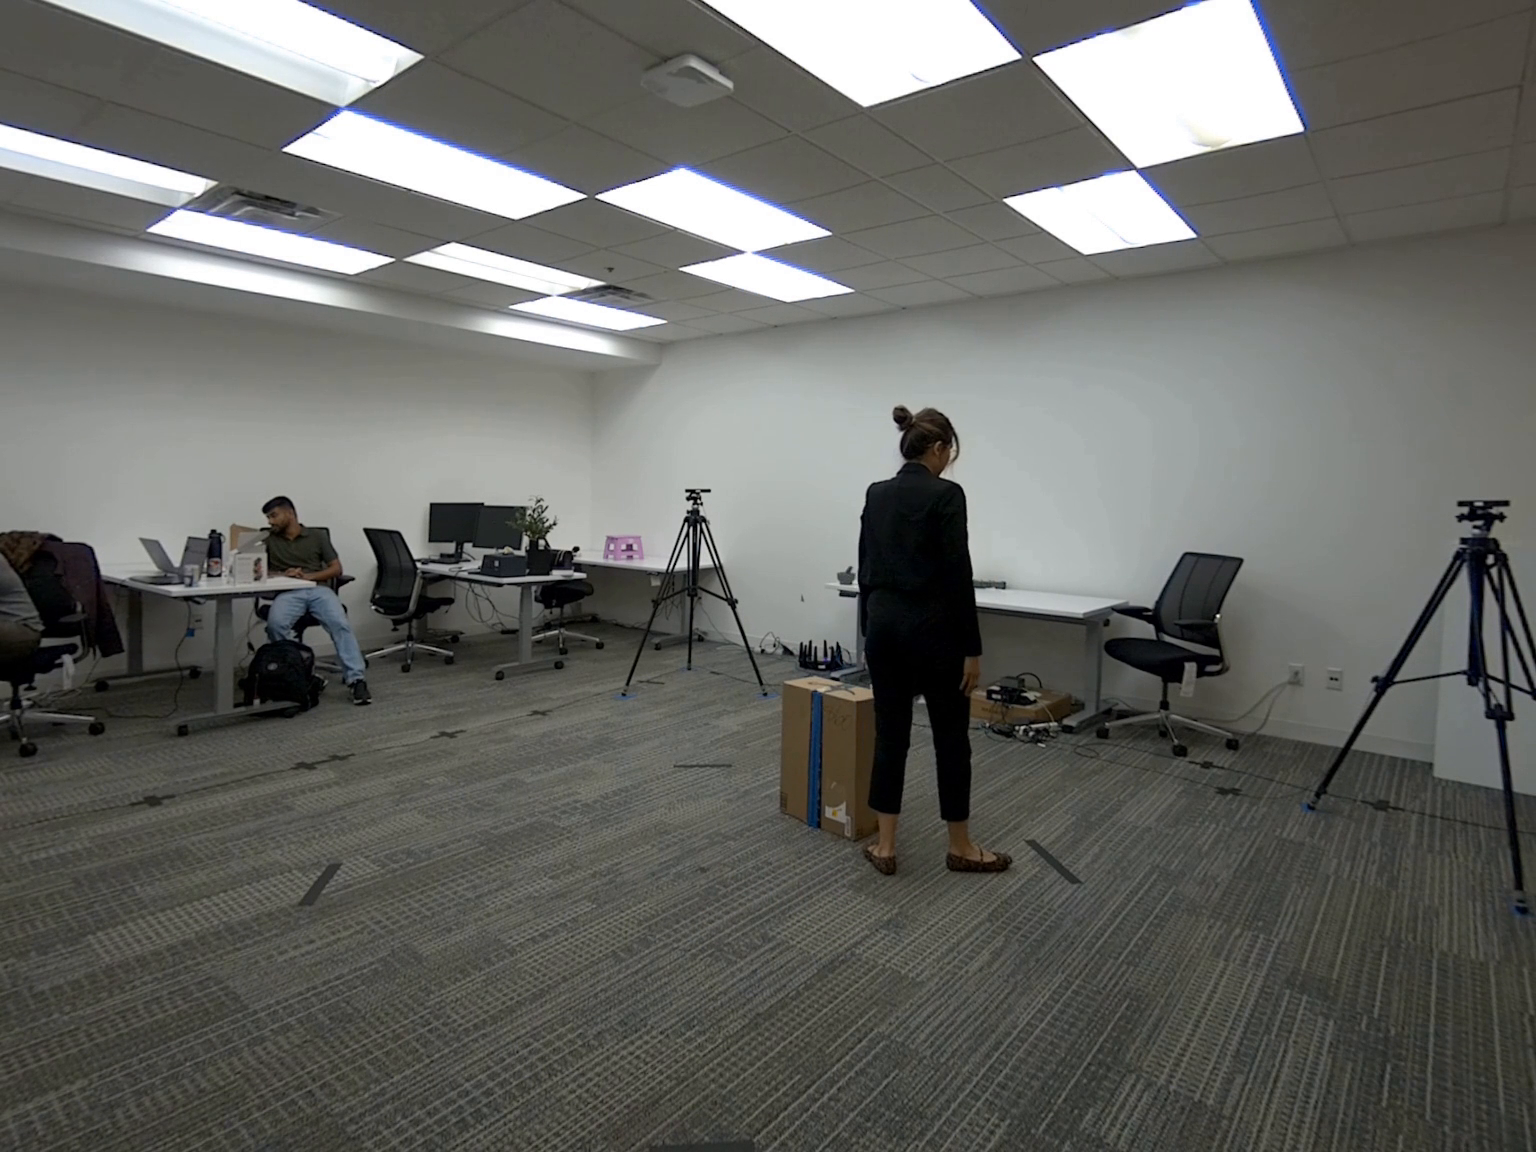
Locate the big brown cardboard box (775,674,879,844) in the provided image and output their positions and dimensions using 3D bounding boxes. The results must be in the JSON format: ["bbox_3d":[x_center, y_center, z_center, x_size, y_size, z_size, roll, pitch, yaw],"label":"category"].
[{"bbox_3d":[0.263,0.757,3.599,0.226,0.588,0.431,-1,3,-42],"label":"big brown cardboard box"}]
